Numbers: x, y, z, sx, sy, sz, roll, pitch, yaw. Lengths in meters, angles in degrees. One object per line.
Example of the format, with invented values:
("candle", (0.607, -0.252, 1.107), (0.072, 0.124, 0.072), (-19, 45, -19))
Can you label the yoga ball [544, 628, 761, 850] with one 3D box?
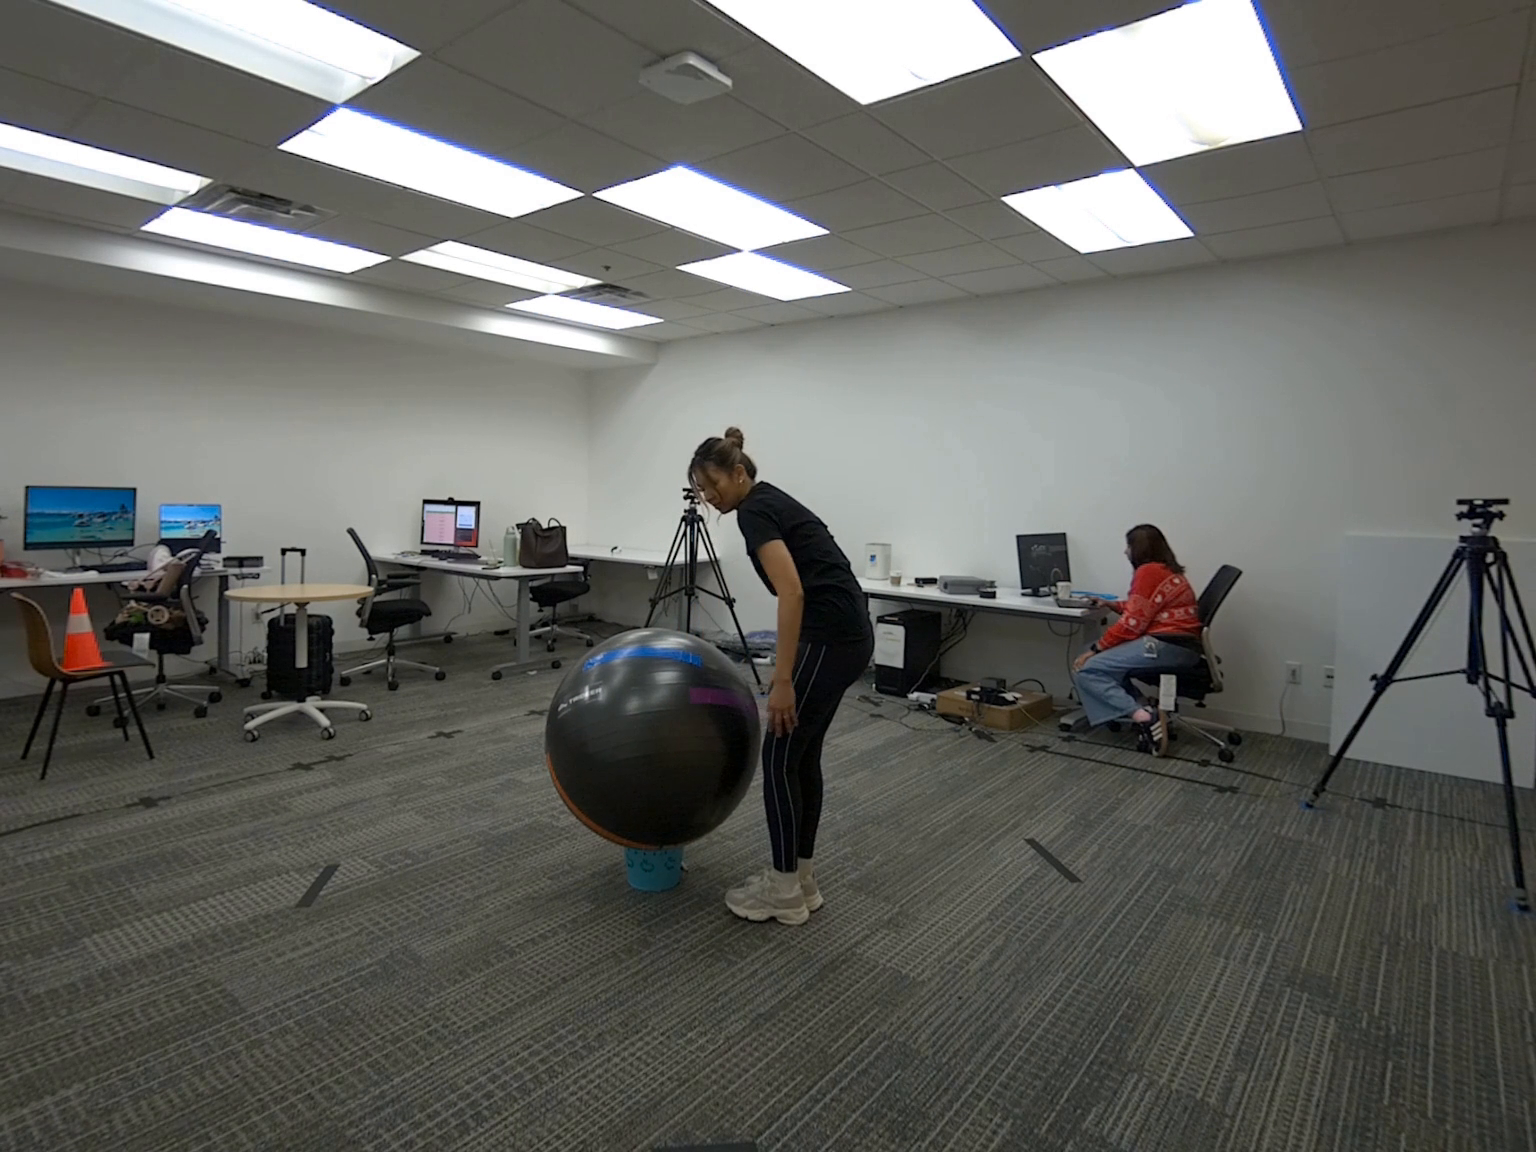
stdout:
("yoga ball", (-0.421, 0.569, 3.007), (0.757, 0.755, 0.762), (1, 4, -2))
